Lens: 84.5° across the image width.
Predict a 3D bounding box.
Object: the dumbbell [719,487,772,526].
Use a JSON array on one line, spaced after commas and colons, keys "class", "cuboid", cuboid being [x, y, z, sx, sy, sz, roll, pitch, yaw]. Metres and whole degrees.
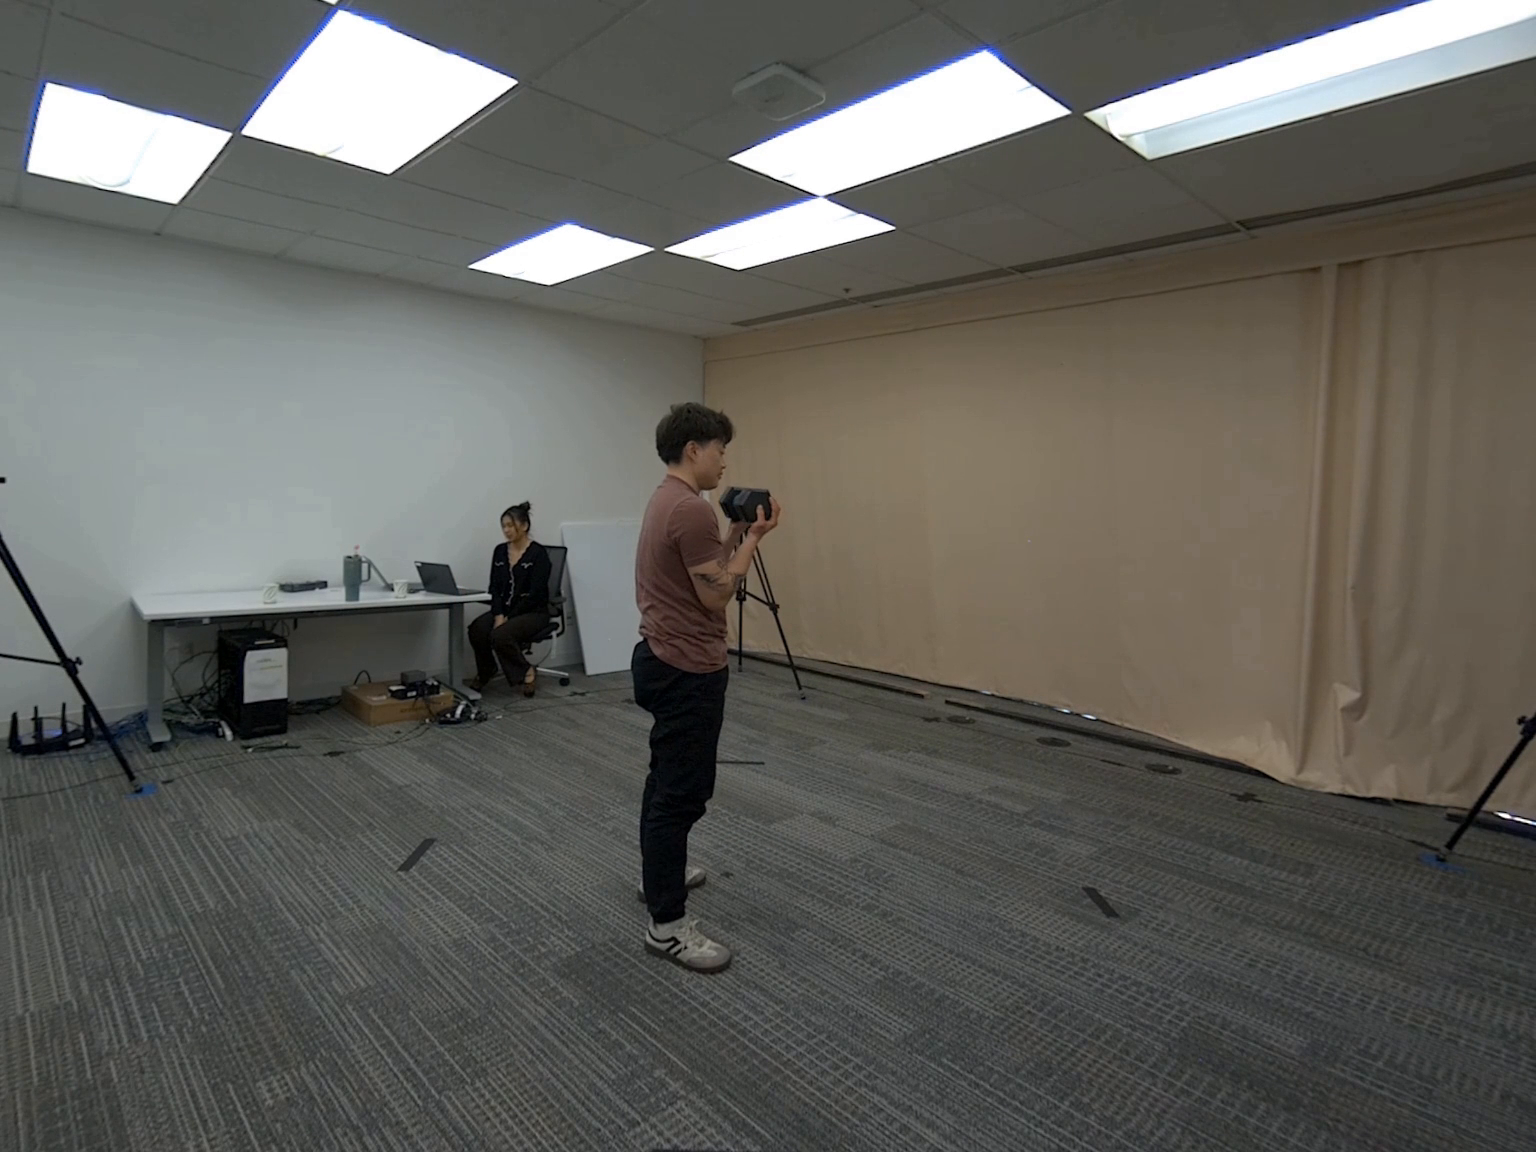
[{"class": "dumbbell", "cuboid": [-0.075, -0.231, 2.726, 0.107, 0.123, 0.298, 42, -4, -17]}]
